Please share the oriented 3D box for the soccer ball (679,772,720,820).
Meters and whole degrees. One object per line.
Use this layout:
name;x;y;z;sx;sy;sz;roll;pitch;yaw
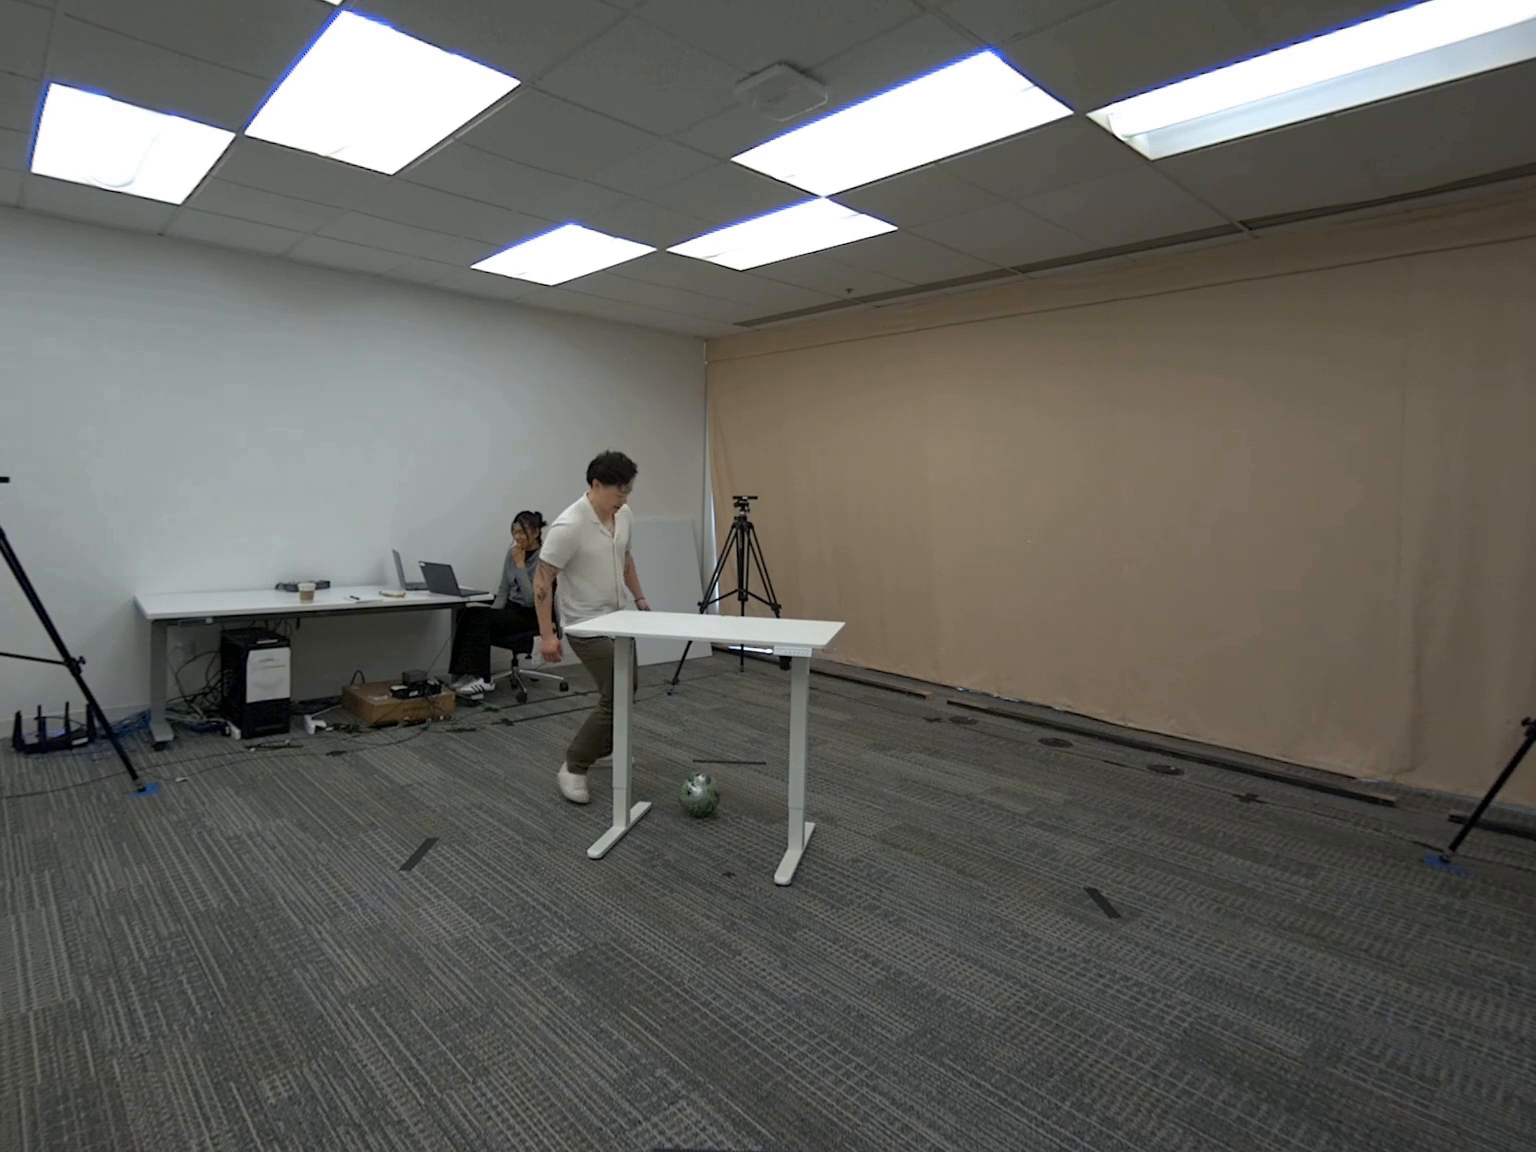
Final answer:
soccer ball;-0.315;0.951;3.680;0.187;0.187;0.188;1;4;-1
